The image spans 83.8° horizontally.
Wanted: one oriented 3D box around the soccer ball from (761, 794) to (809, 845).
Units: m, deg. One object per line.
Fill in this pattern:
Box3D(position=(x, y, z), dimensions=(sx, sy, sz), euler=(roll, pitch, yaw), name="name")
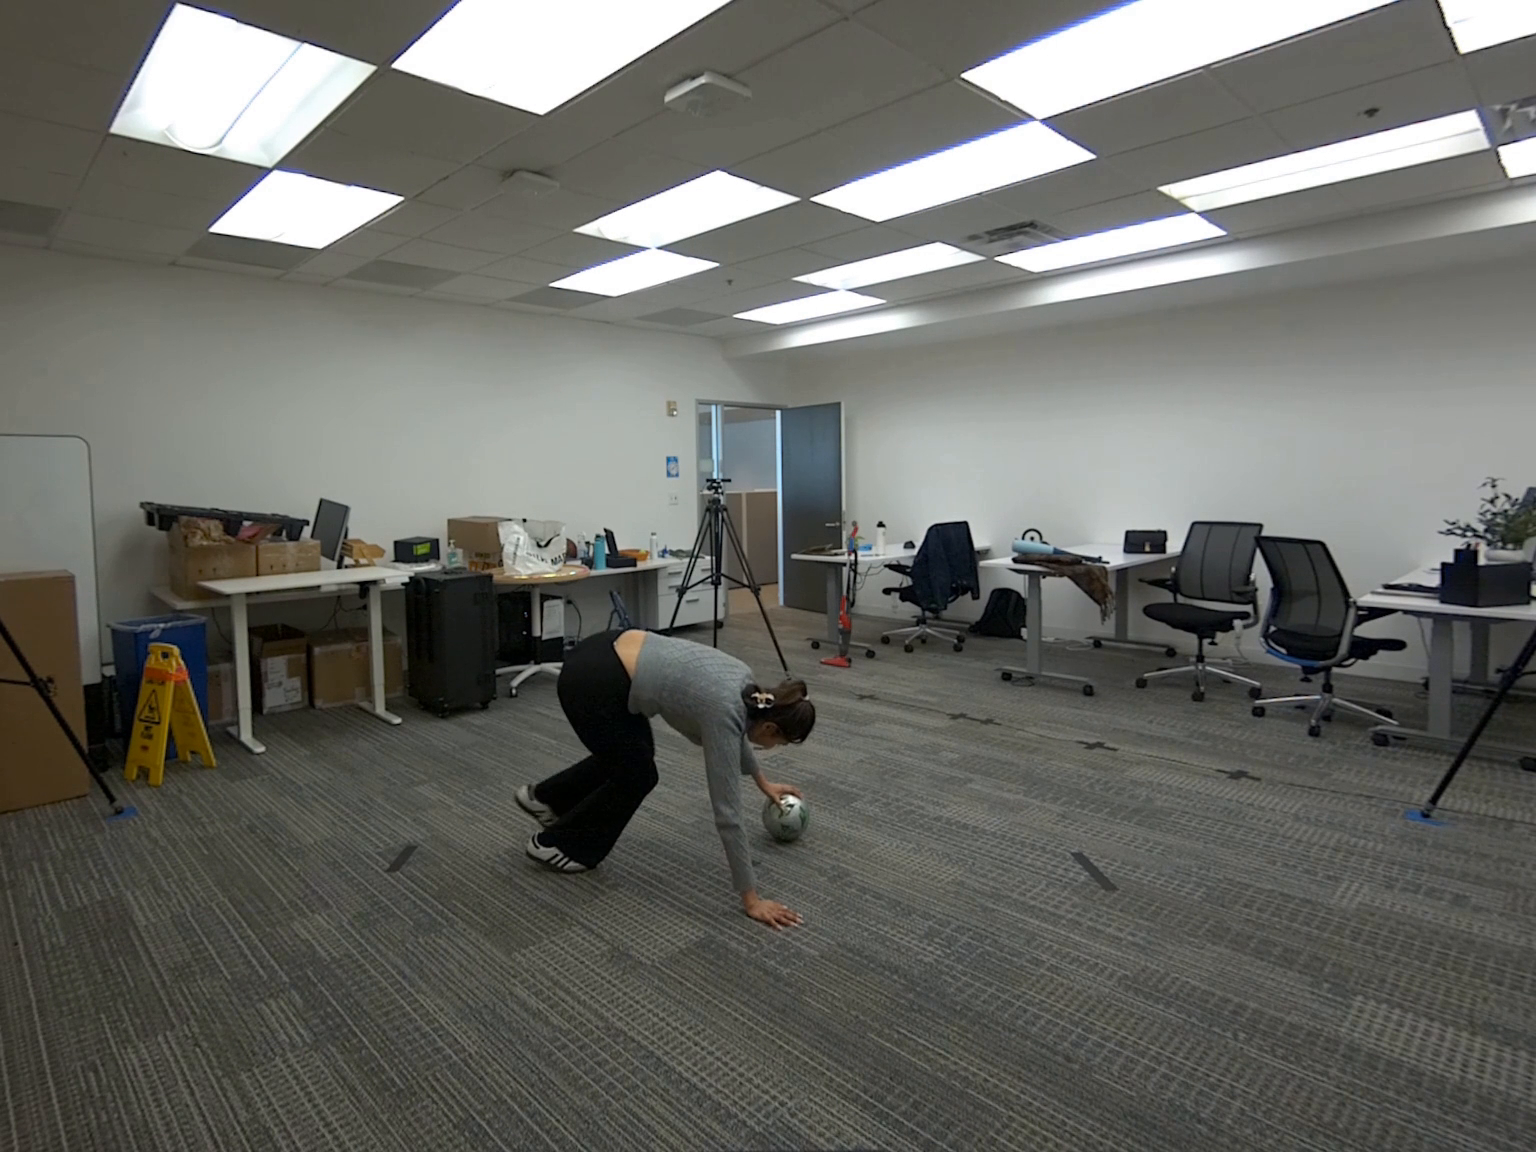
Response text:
Box3D(position=(0.066, 0.926, 3.312), dimensions=(0.187, 0.187, 0.188), euler=(-1, 5, -2), name="soccer ball")
